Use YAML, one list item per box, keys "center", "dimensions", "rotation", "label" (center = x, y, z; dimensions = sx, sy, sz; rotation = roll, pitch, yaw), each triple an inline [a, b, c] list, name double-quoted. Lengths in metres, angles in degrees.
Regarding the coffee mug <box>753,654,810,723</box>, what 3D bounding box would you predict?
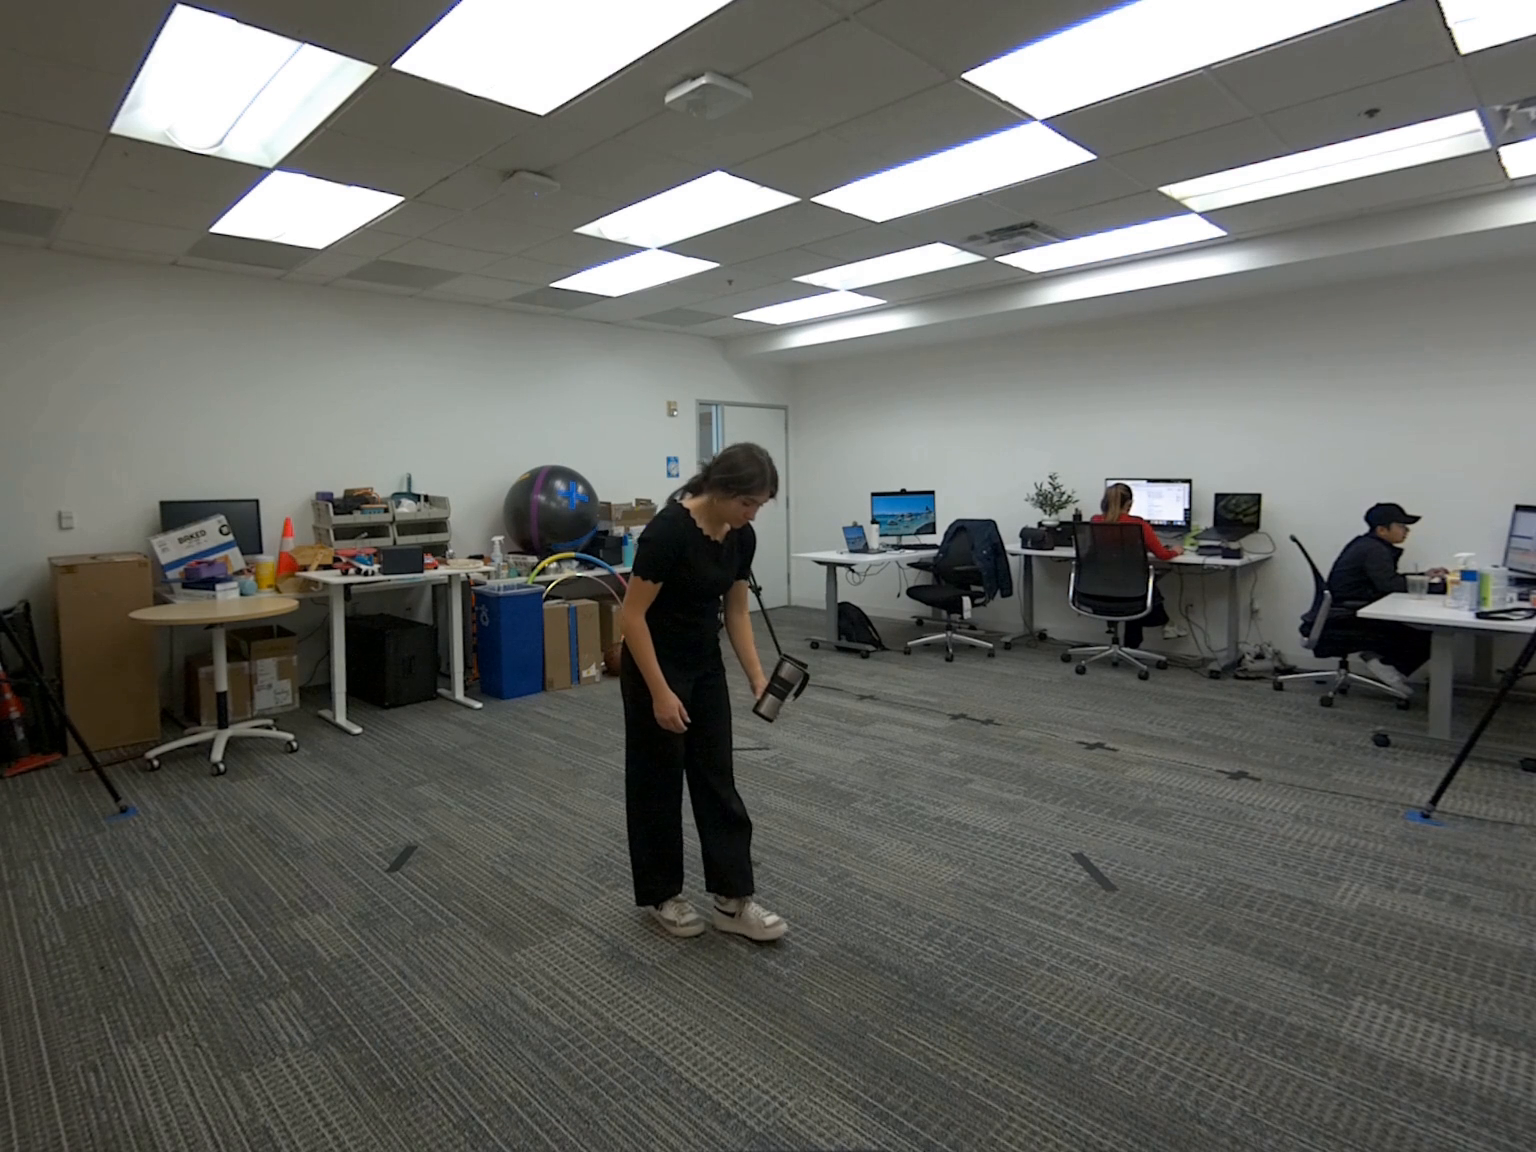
- center: [0.038, 0.352, 2.554]
  dimensions: [0.121, 0.203, 0.088]
  rotation: [27, -7, -8]
  label: "coffee mug"
